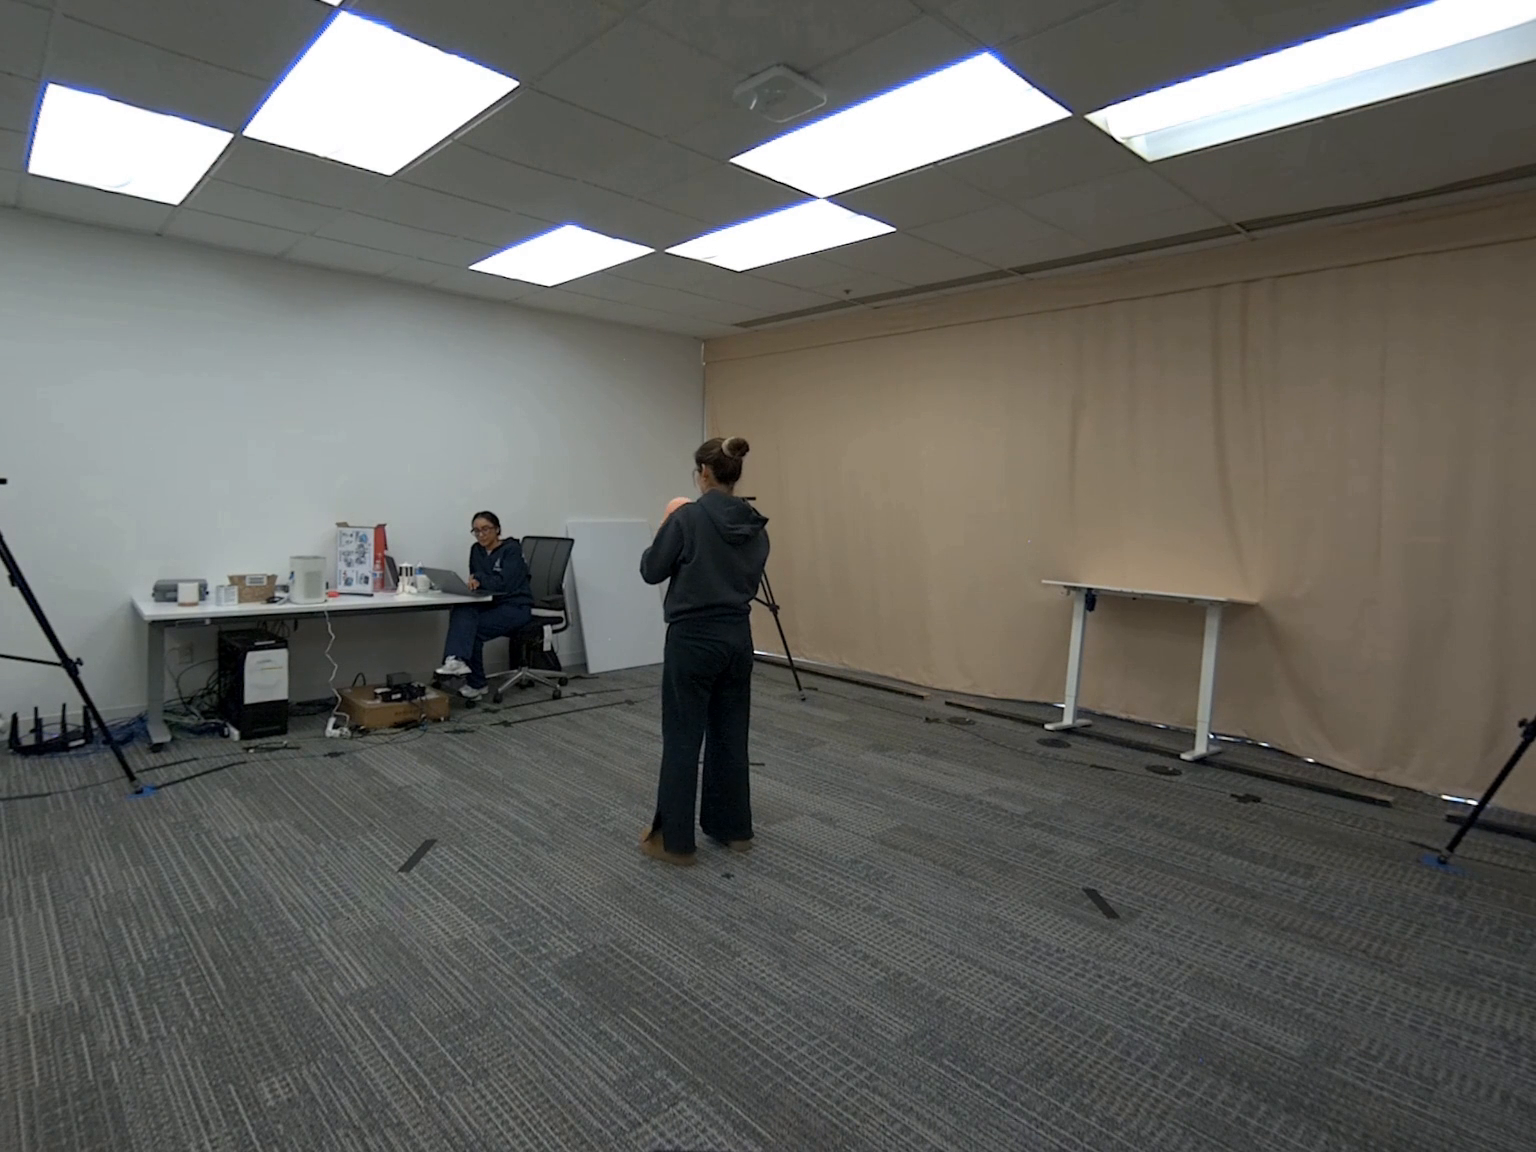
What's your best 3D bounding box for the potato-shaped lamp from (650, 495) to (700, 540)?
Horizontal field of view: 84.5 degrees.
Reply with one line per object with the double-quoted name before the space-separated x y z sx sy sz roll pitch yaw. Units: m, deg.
"potato-shaped lamp" -0.369 -0.225 3.480 0.162 0.197 0.175 -6 4 -30
